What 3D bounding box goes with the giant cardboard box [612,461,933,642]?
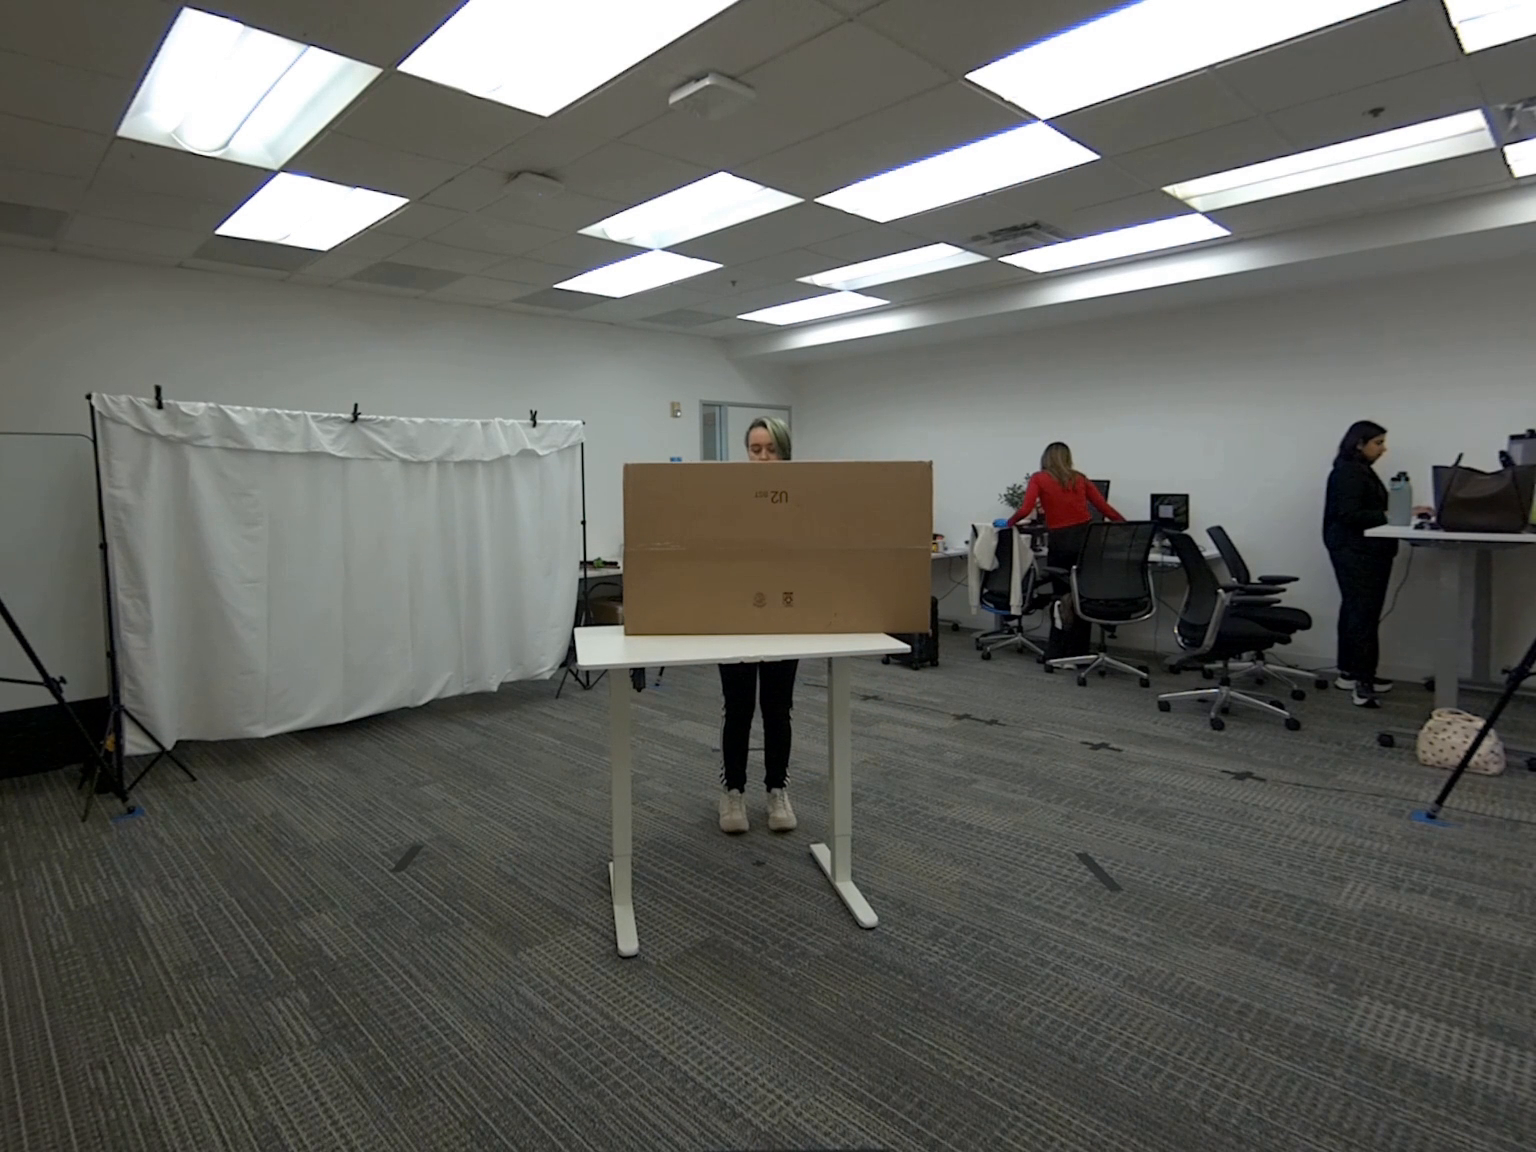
[{"bbox_3d":[0.023,-0.124,3.025,1.027,0.582,0.448,0,4,0],"label":"giant cardboard box"}]
